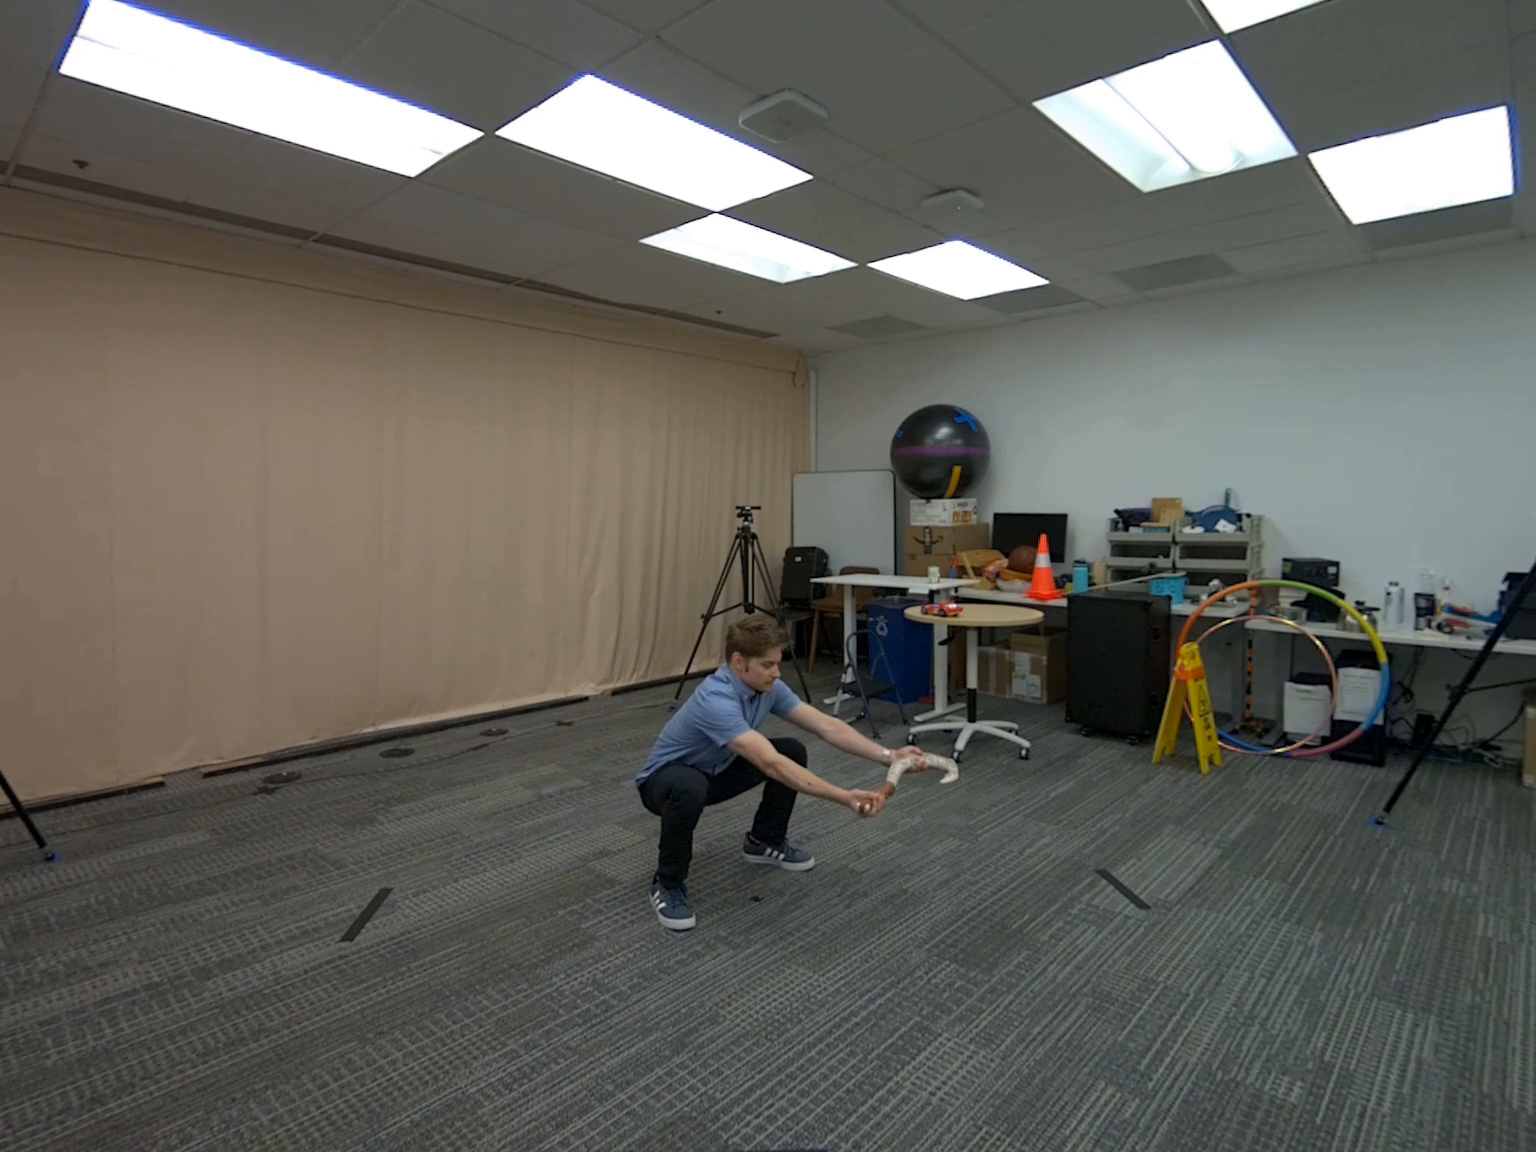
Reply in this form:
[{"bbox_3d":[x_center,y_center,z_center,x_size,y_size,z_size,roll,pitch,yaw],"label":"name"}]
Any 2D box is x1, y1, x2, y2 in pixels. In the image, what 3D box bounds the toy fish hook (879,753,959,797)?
[{"bbox_3d":[0.456,0.667,2.709,0.231,0.048,0.494,-1,10,35],"label":"toy fish hook"}]
